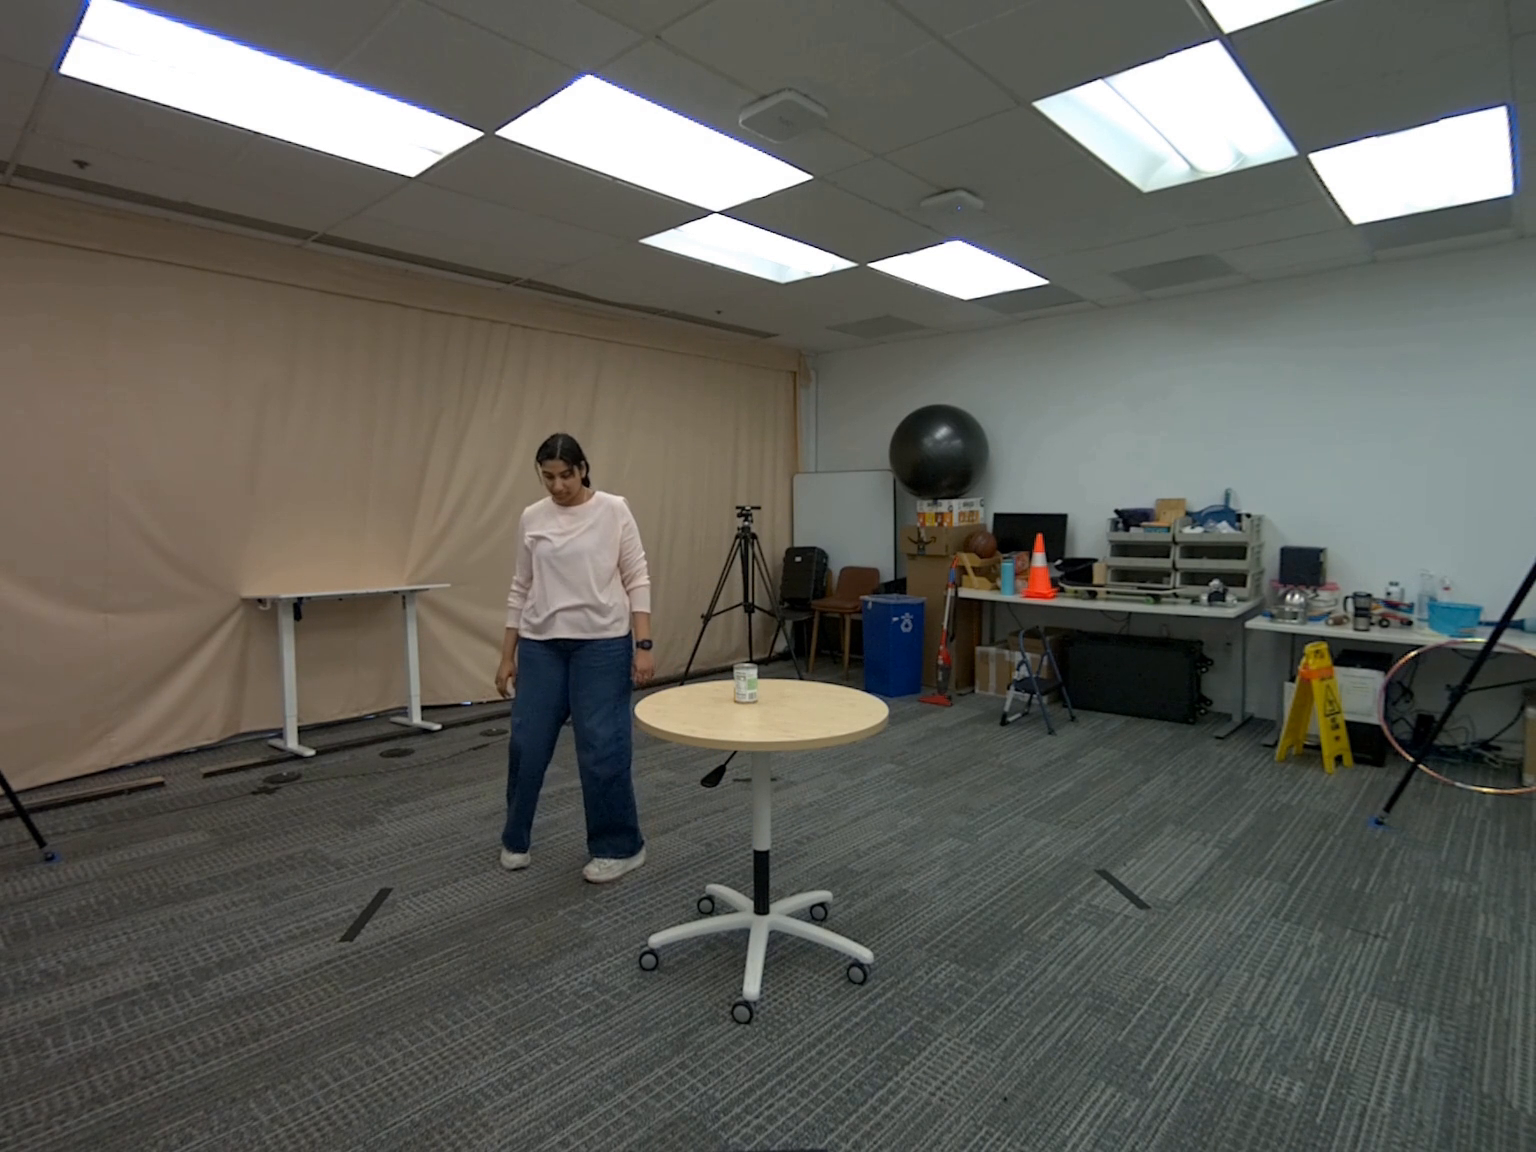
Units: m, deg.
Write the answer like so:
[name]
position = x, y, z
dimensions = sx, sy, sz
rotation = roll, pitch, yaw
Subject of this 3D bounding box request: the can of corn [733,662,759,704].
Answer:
[can of corn]
position = -0.065, 0.338, 2.610
dimensions = 0.074, 0.110, 0.074
rotation = -2, 6, -2
